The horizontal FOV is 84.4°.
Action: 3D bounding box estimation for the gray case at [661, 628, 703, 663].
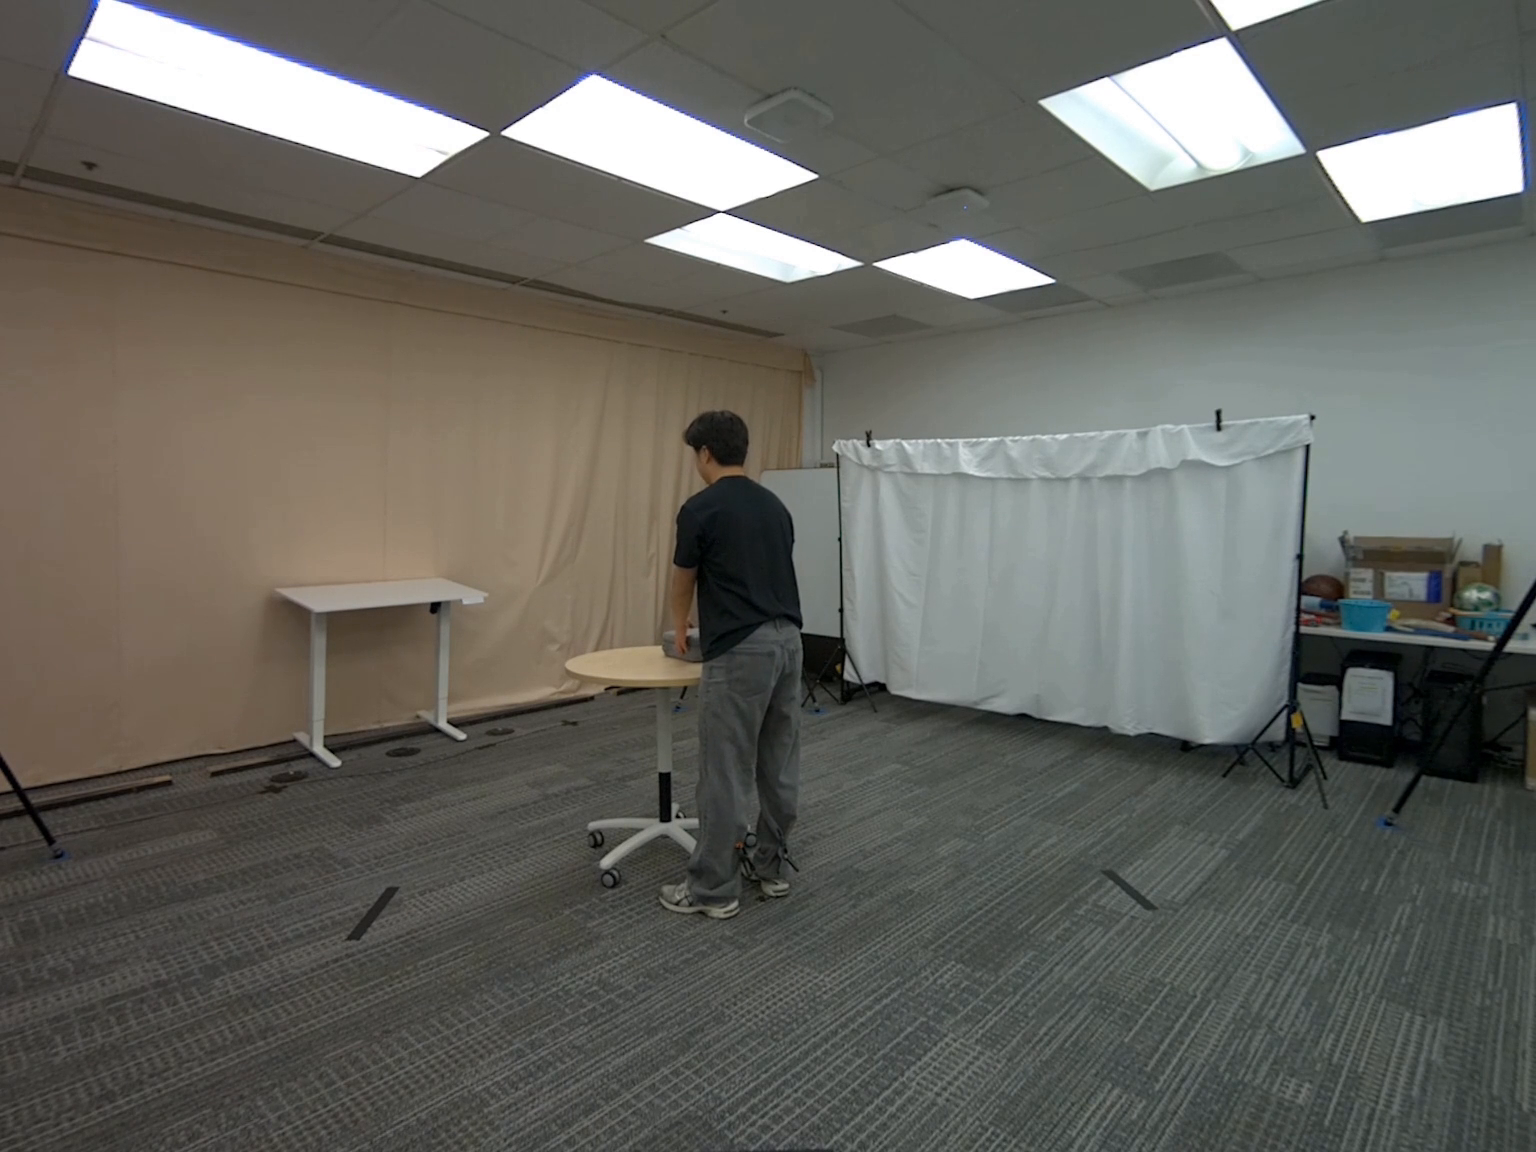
[{"bbox_3d":[-0.277,0.275,3.435,0.256,0.103,0.296,-4,3,-34],"label":"gray case"}]
